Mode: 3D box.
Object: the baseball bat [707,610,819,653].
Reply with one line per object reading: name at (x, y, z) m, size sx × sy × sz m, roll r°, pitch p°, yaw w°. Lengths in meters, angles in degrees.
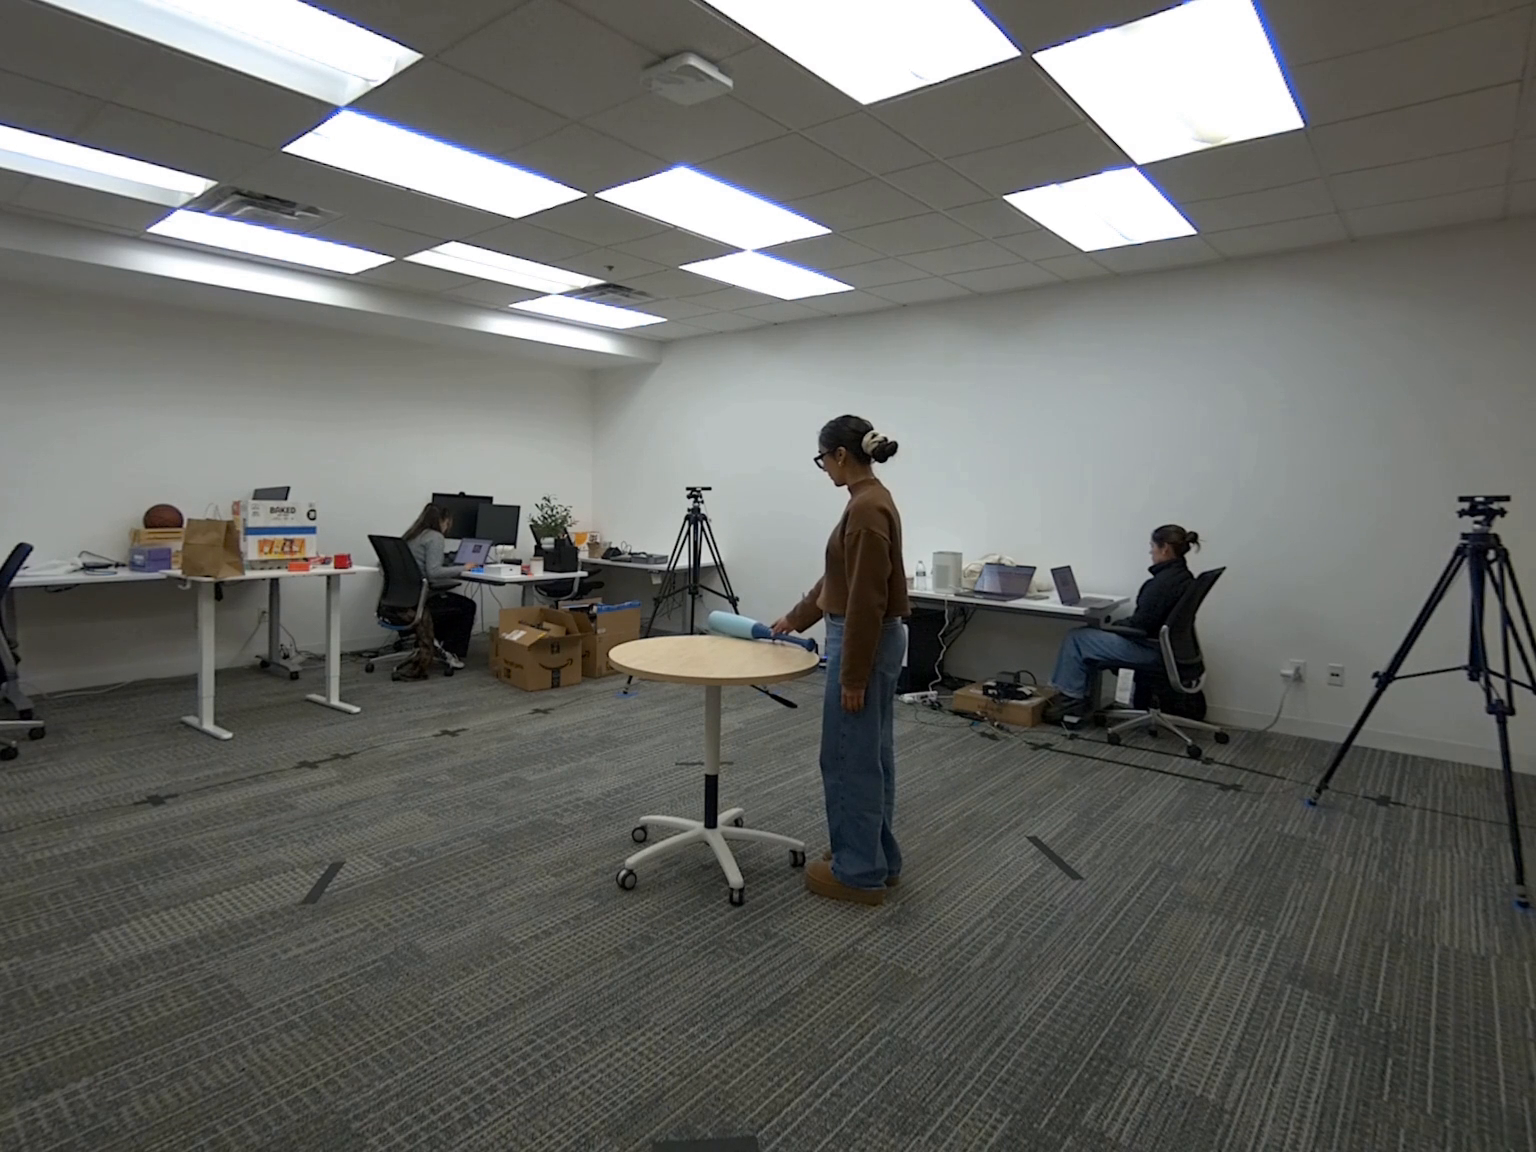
baseball bat at (-0.039, 0.221, 3.386) m, size 0.563 × 0.088 × 0.086 m, roll 10°, pitch 9°, yaw 43°
